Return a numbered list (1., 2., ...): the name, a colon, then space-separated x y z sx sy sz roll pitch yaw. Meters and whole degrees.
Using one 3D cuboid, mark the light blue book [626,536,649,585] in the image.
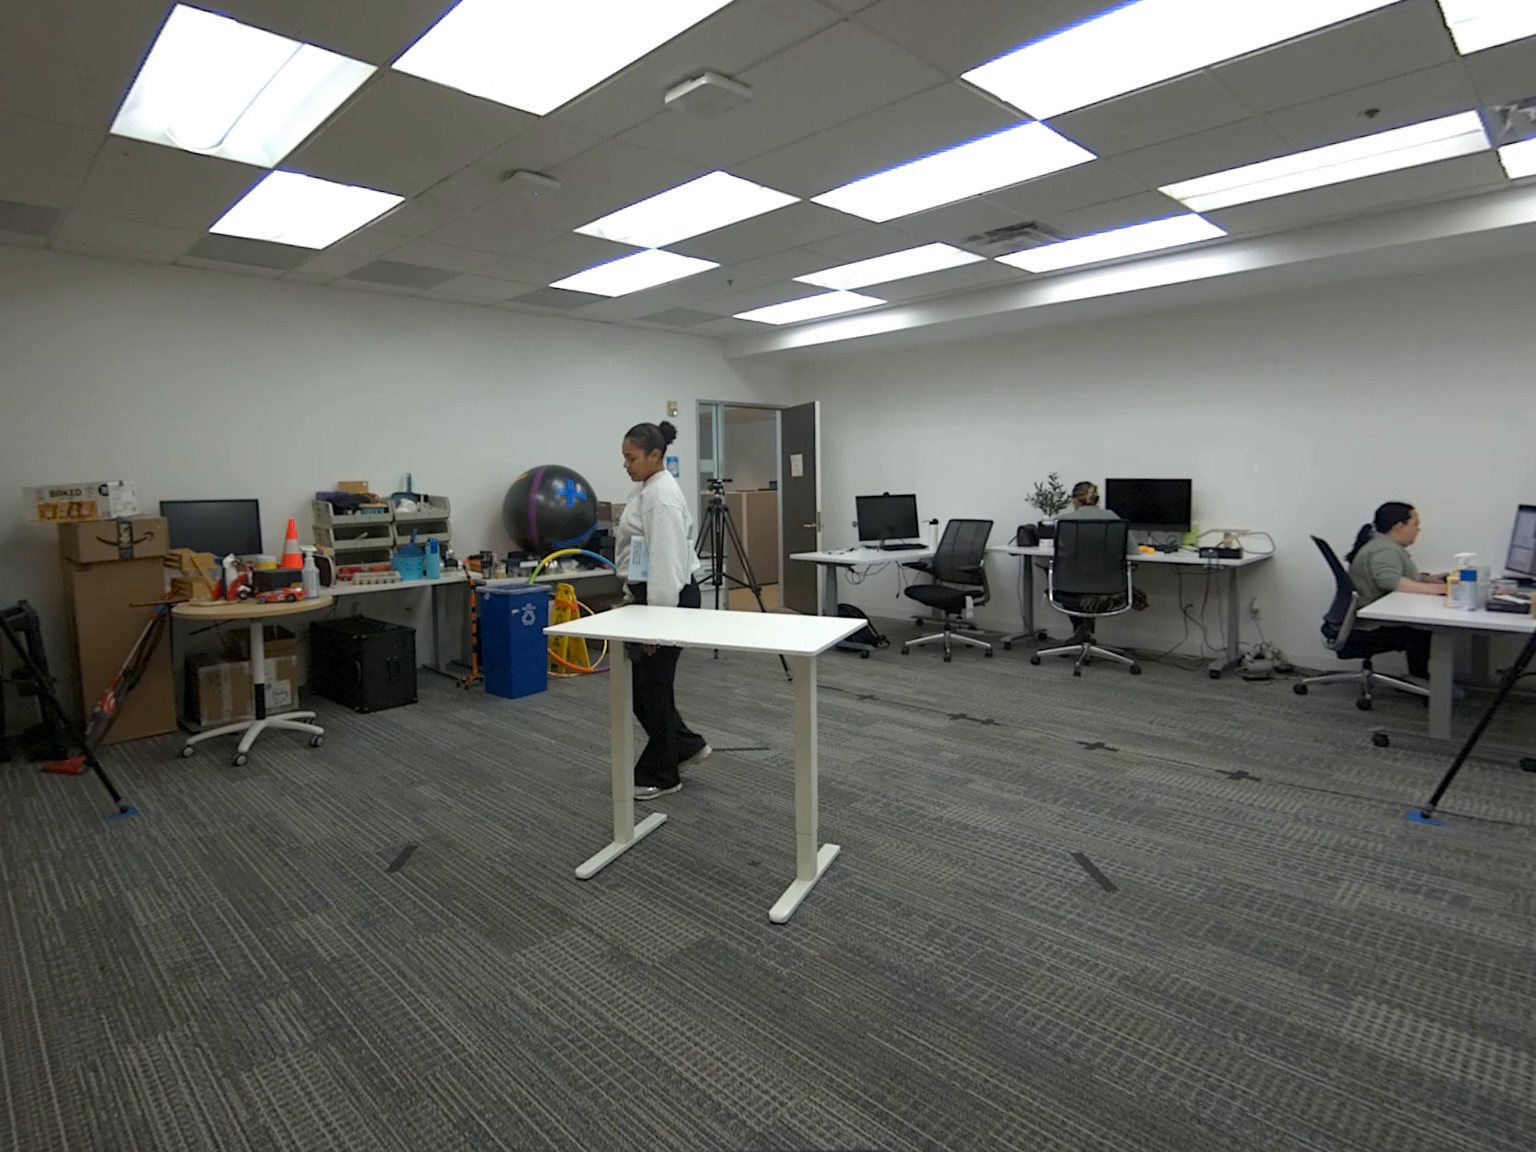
1. light blue book: -0.462 -0.071 3.628 0.259 0.192 0.059 4 -4 -6
